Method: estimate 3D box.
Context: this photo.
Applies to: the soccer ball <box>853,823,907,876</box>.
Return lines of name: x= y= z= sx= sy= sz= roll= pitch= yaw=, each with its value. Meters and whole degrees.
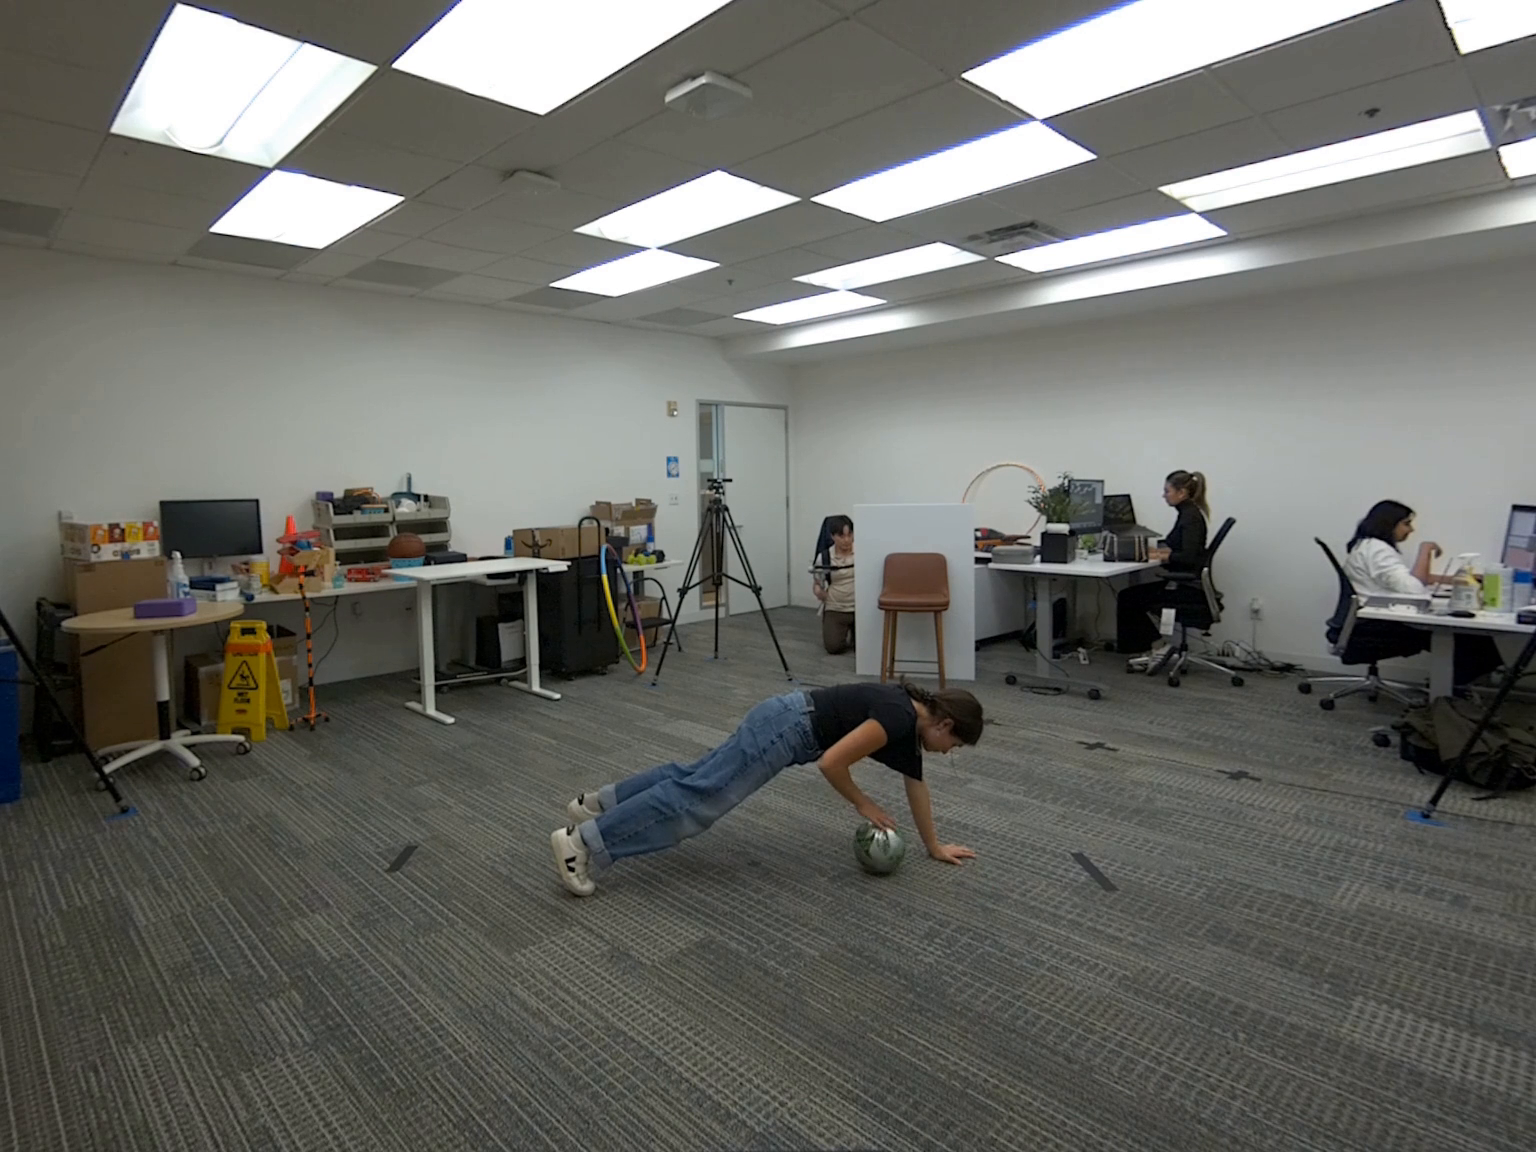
soccer ball: x=0.387 y=0.950 z=3.032 sx=0.187 sy=0.187 sz=0.188 roll=-1 pitch=5 yaw=-2
